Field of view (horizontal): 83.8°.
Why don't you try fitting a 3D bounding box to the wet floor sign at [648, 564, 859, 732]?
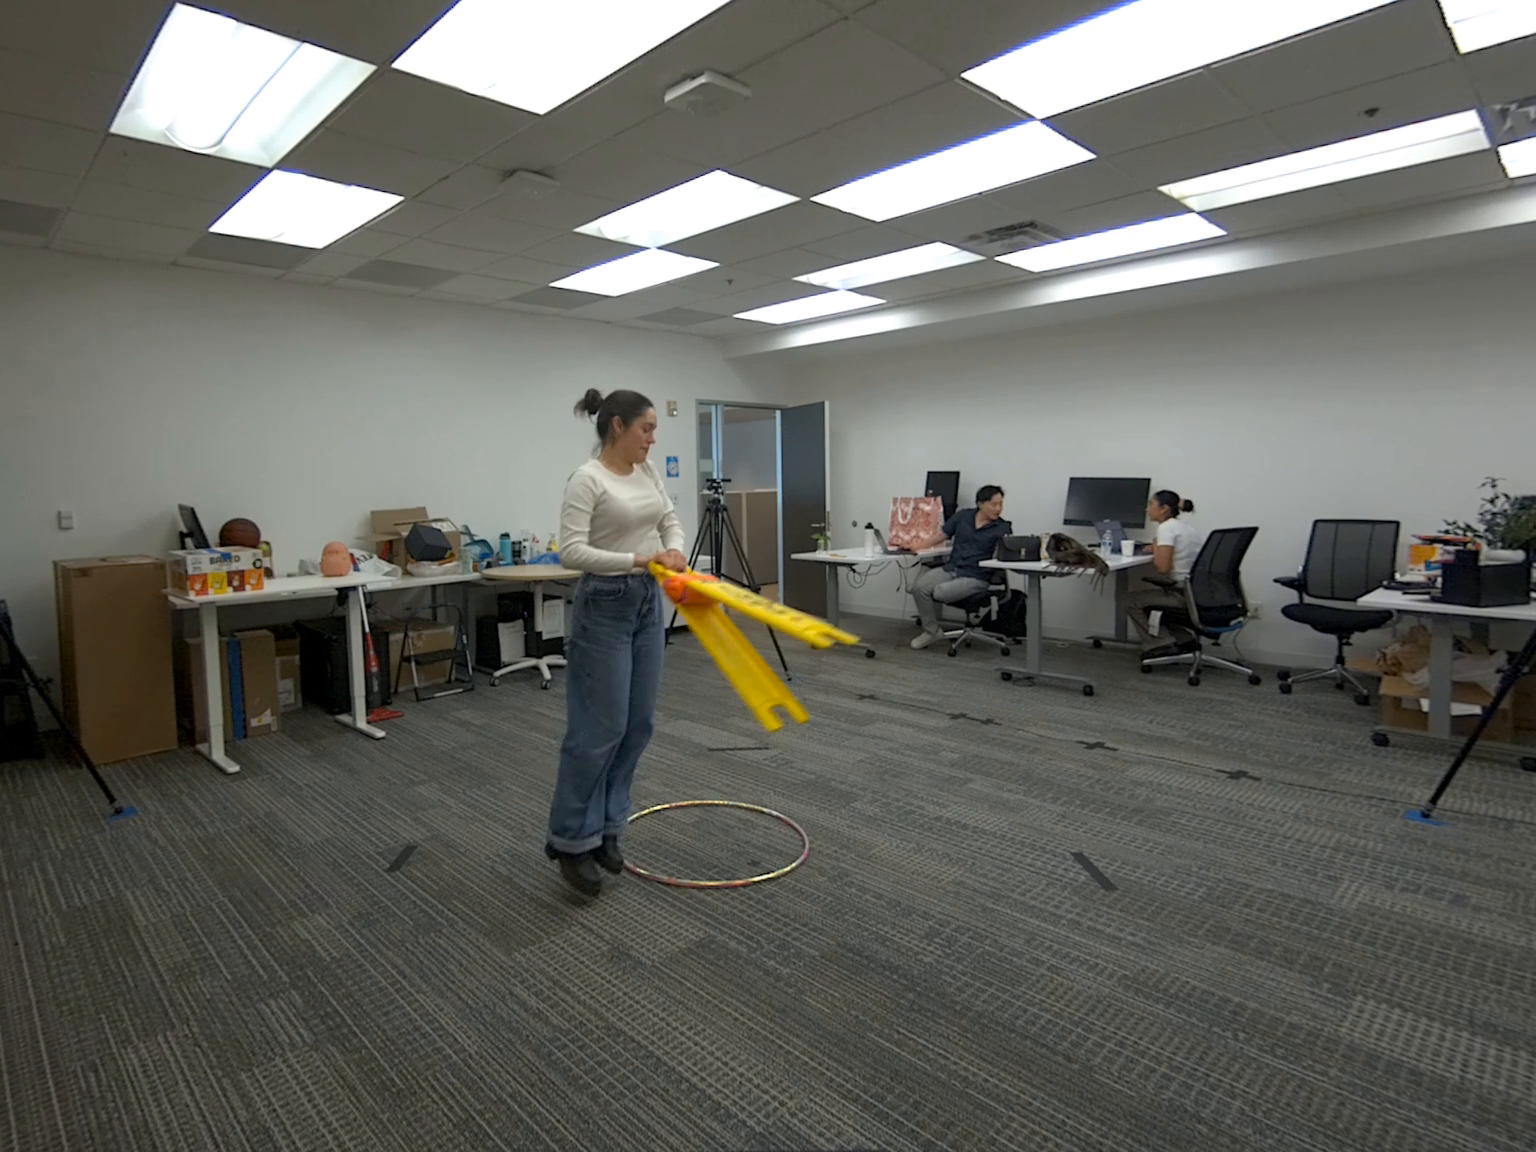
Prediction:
[{"bbox_3d":[-0.118,0.189,2.633,0.666,0.288,0.275,37,15,24],"label":"wet floor sign"}]
